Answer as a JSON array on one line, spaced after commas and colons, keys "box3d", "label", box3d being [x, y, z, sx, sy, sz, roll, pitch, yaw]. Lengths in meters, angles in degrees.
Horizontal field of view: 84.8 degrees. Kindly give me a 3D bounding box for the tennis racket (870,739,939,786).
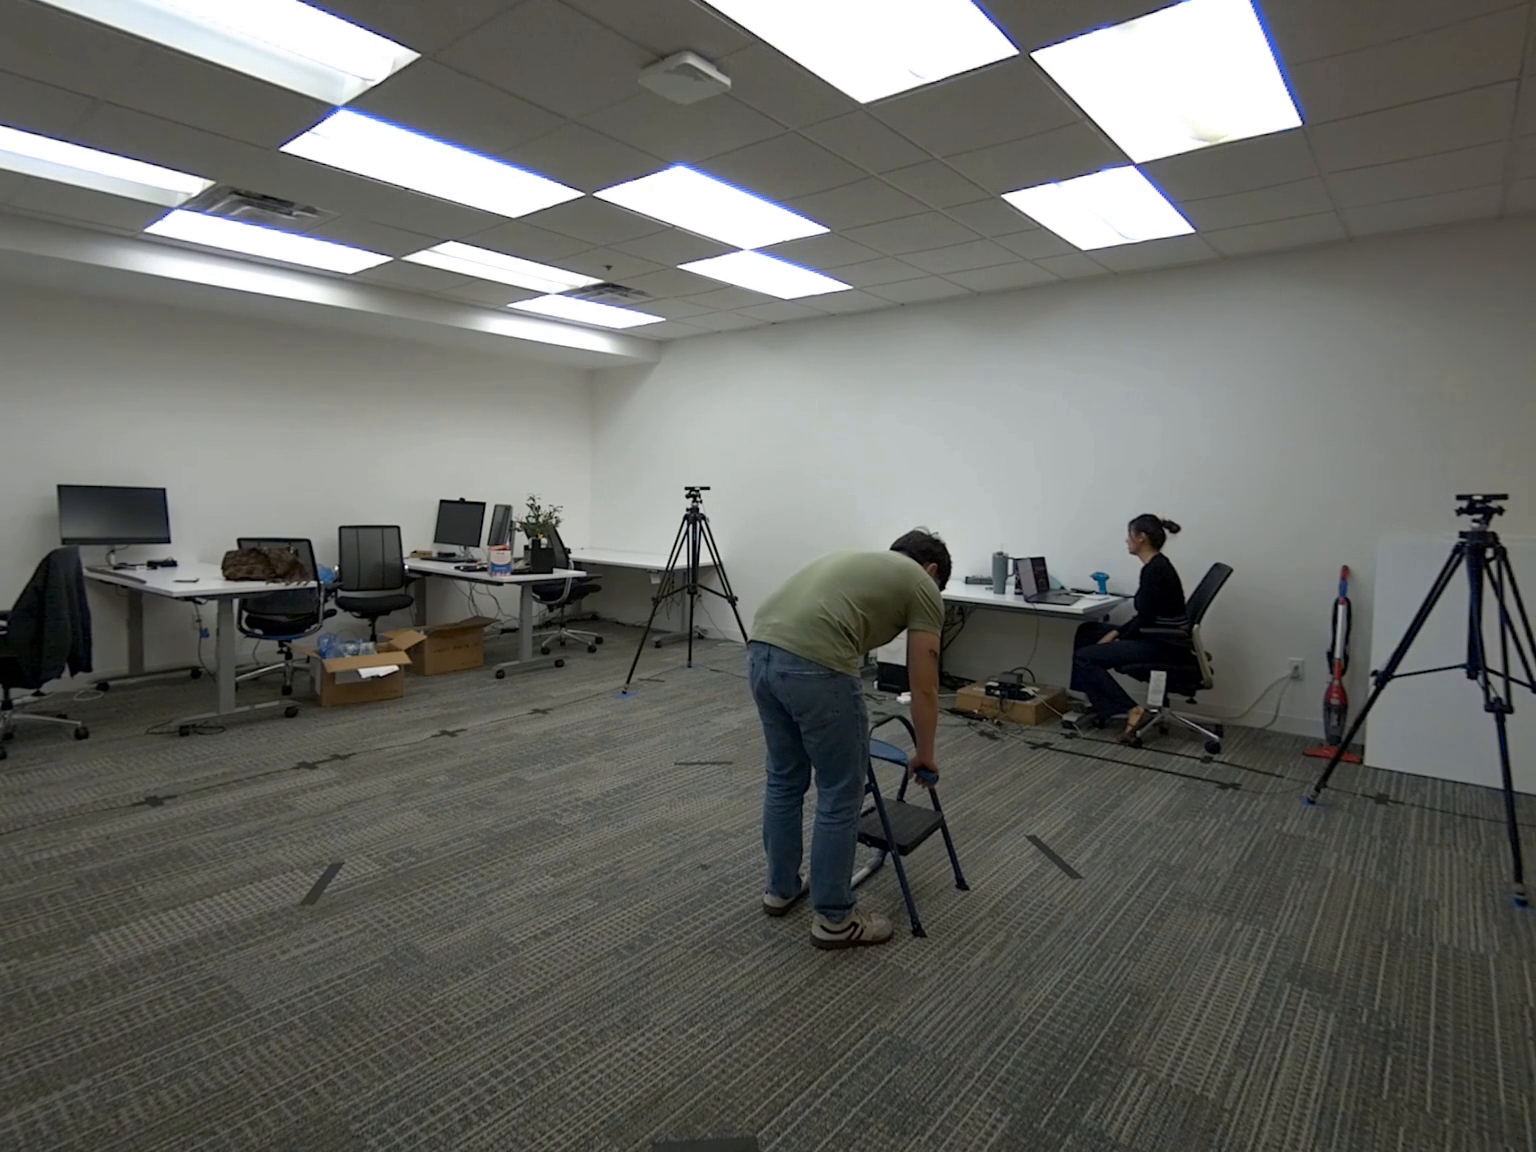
[{"box3d": [0.421, 0.617, 2.894, 0.207, 0.032, 0.447, 7, 4, -31], "label": "tennis racket"}]
